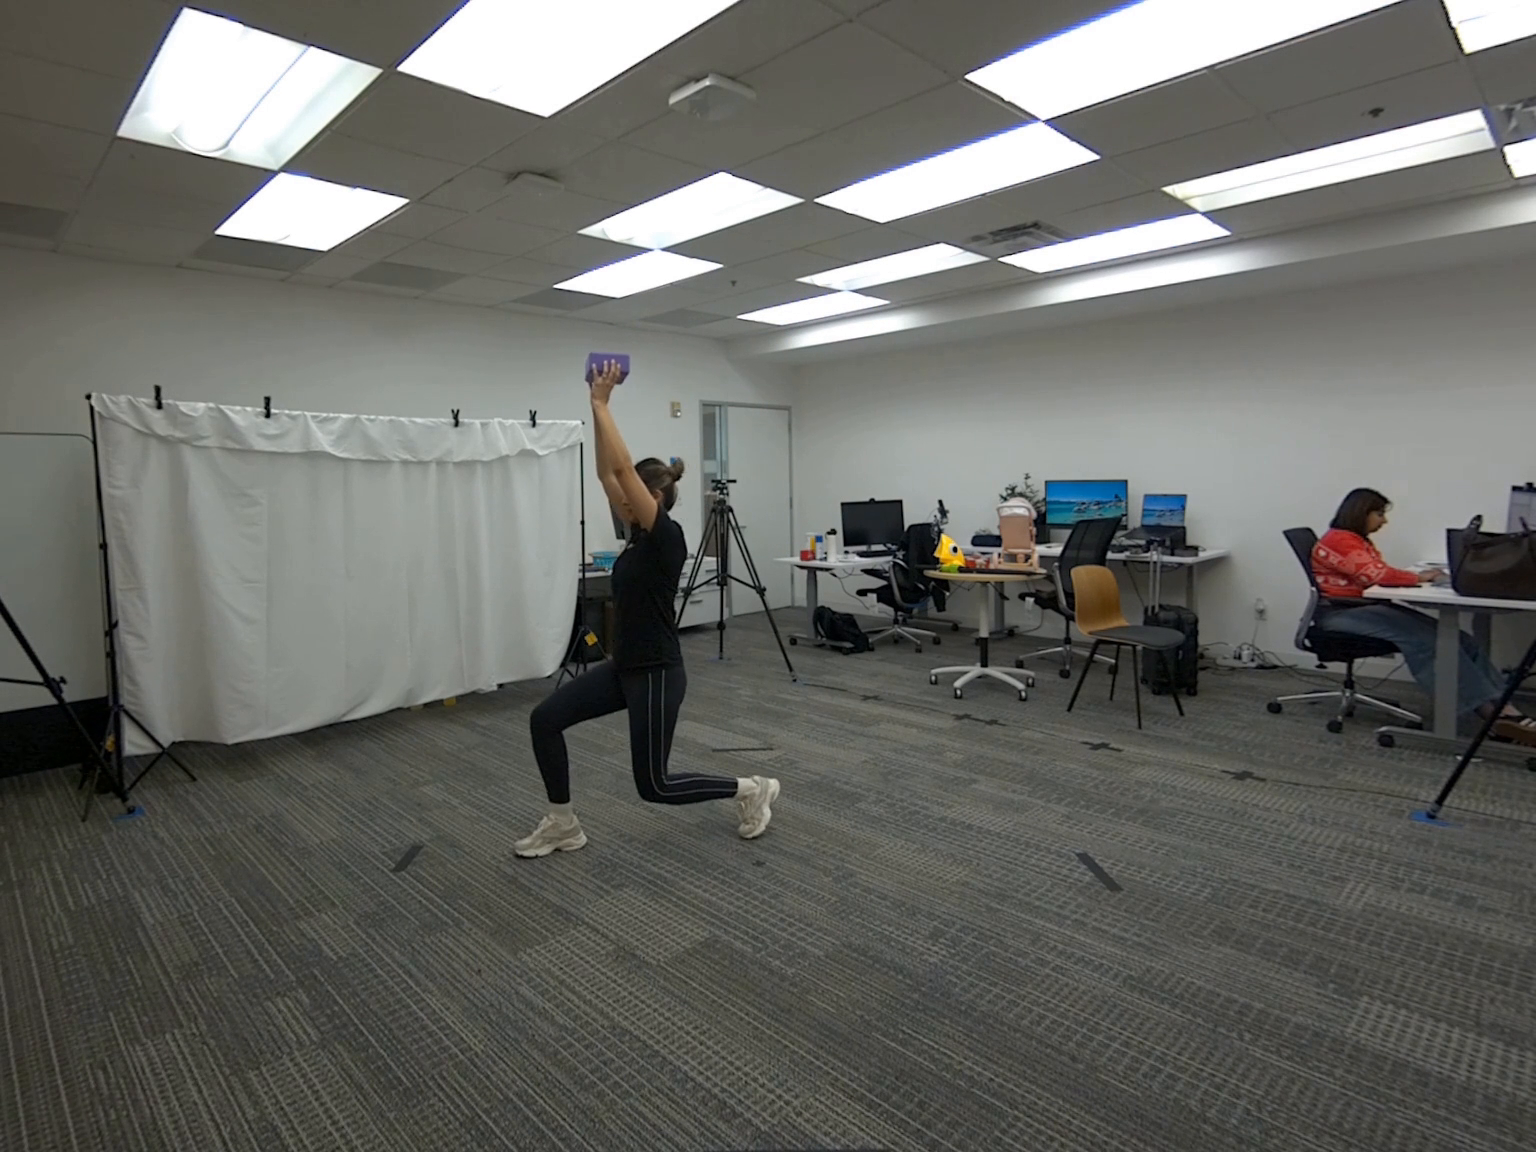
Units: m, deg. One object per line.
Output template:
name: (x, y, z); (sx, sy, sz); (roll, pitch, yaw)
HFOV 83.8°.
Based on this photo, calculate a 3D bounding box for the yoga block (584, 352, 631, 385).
yoga block: (-0.602, -0.787, 3.196); (0.147, 0.076, 0.232); (1, 4, -12)
